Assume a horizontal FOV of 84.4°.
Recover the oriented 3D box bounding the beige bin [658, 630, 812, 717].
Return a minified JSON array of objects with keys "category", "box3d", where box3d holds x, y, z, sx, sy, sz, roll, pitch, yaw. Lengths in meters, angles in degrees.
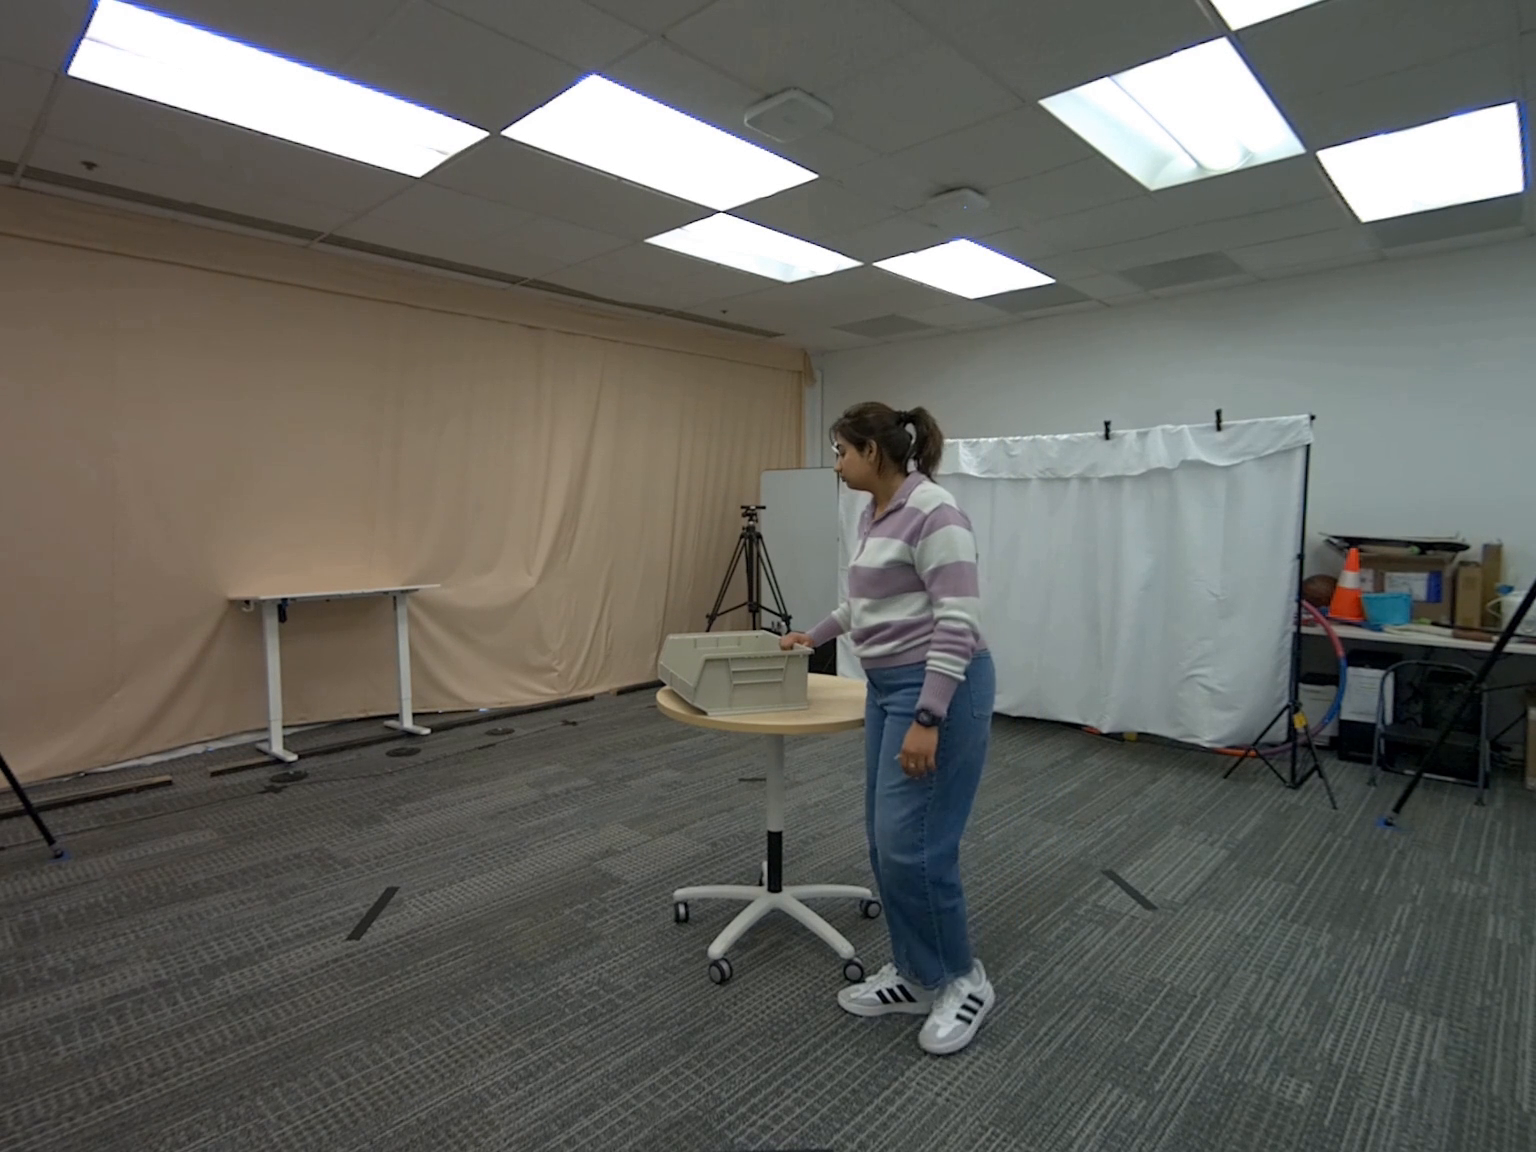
[{"category":"beige bin","box3d":[-0.111,0.291,2.656,0.370,0.189,0.431,2,3,-18]}]
